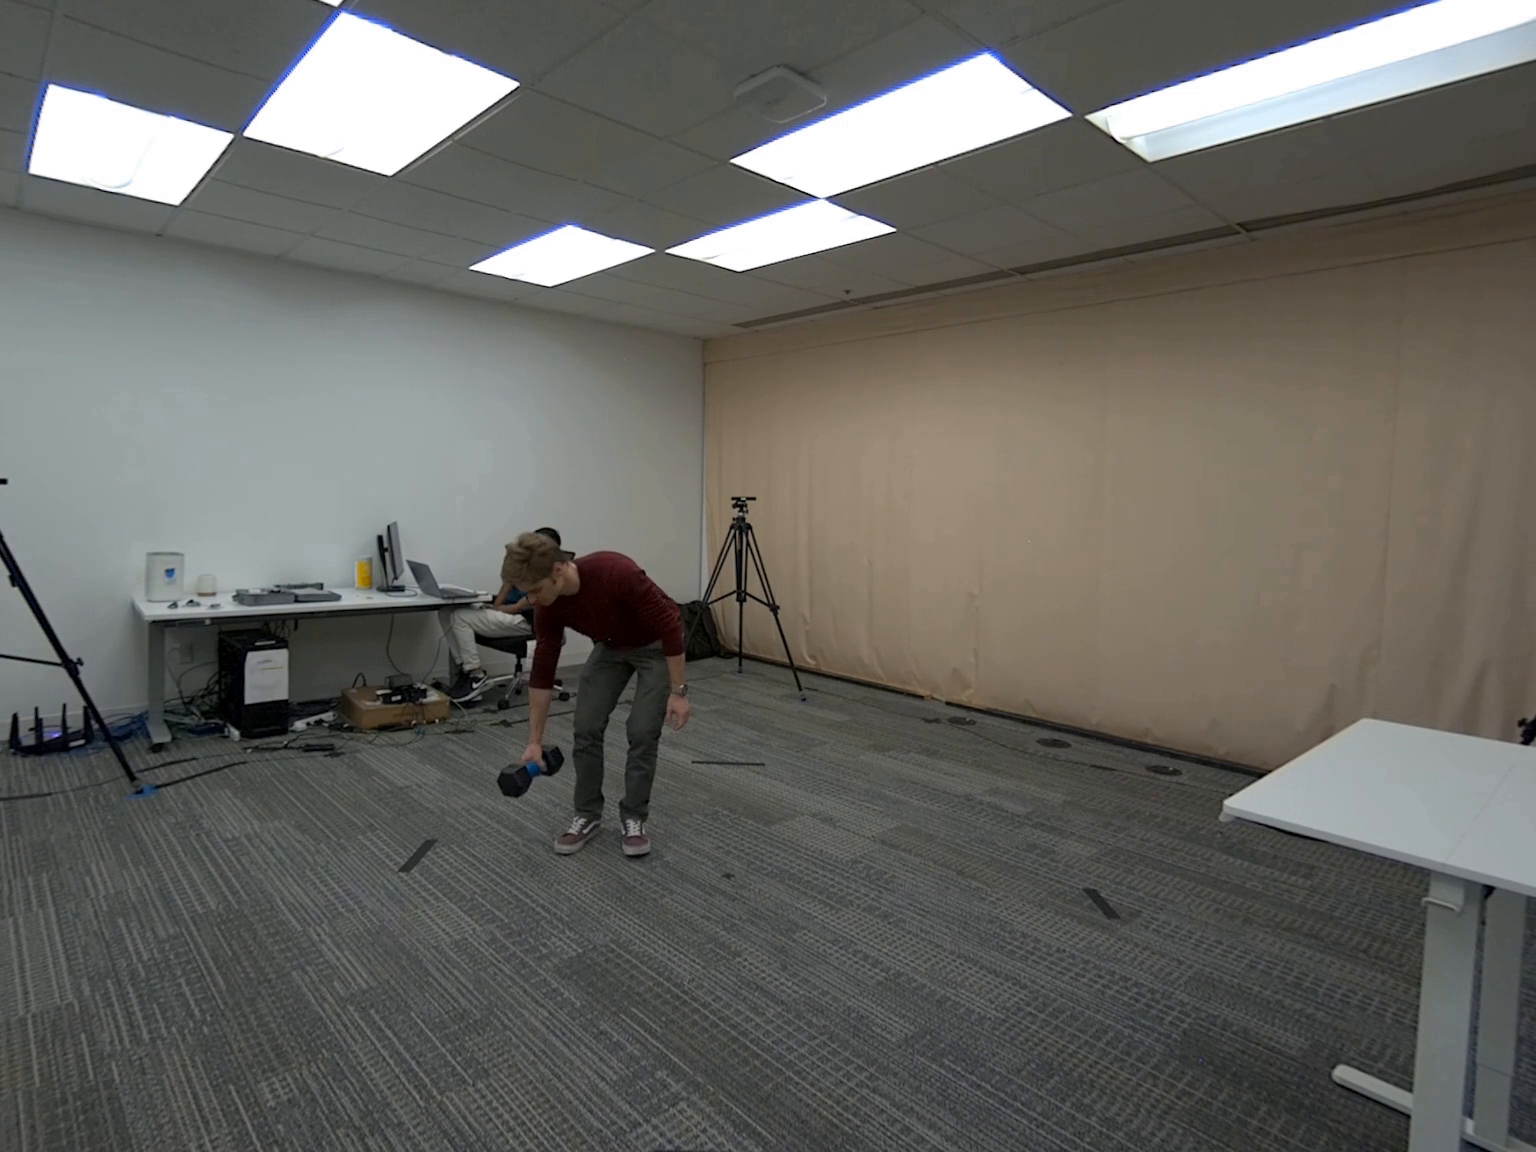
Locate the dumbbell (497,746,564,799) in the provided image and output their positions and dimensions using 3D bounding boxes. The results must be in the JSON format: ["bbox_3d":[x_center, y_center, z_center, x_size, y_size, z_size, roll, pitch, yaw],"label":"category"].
[{"bbox_3d":[-0.926,0.756,3.258,0.109,0.123,0.290,-32,-3,21],"label":"dumbbell"}]
